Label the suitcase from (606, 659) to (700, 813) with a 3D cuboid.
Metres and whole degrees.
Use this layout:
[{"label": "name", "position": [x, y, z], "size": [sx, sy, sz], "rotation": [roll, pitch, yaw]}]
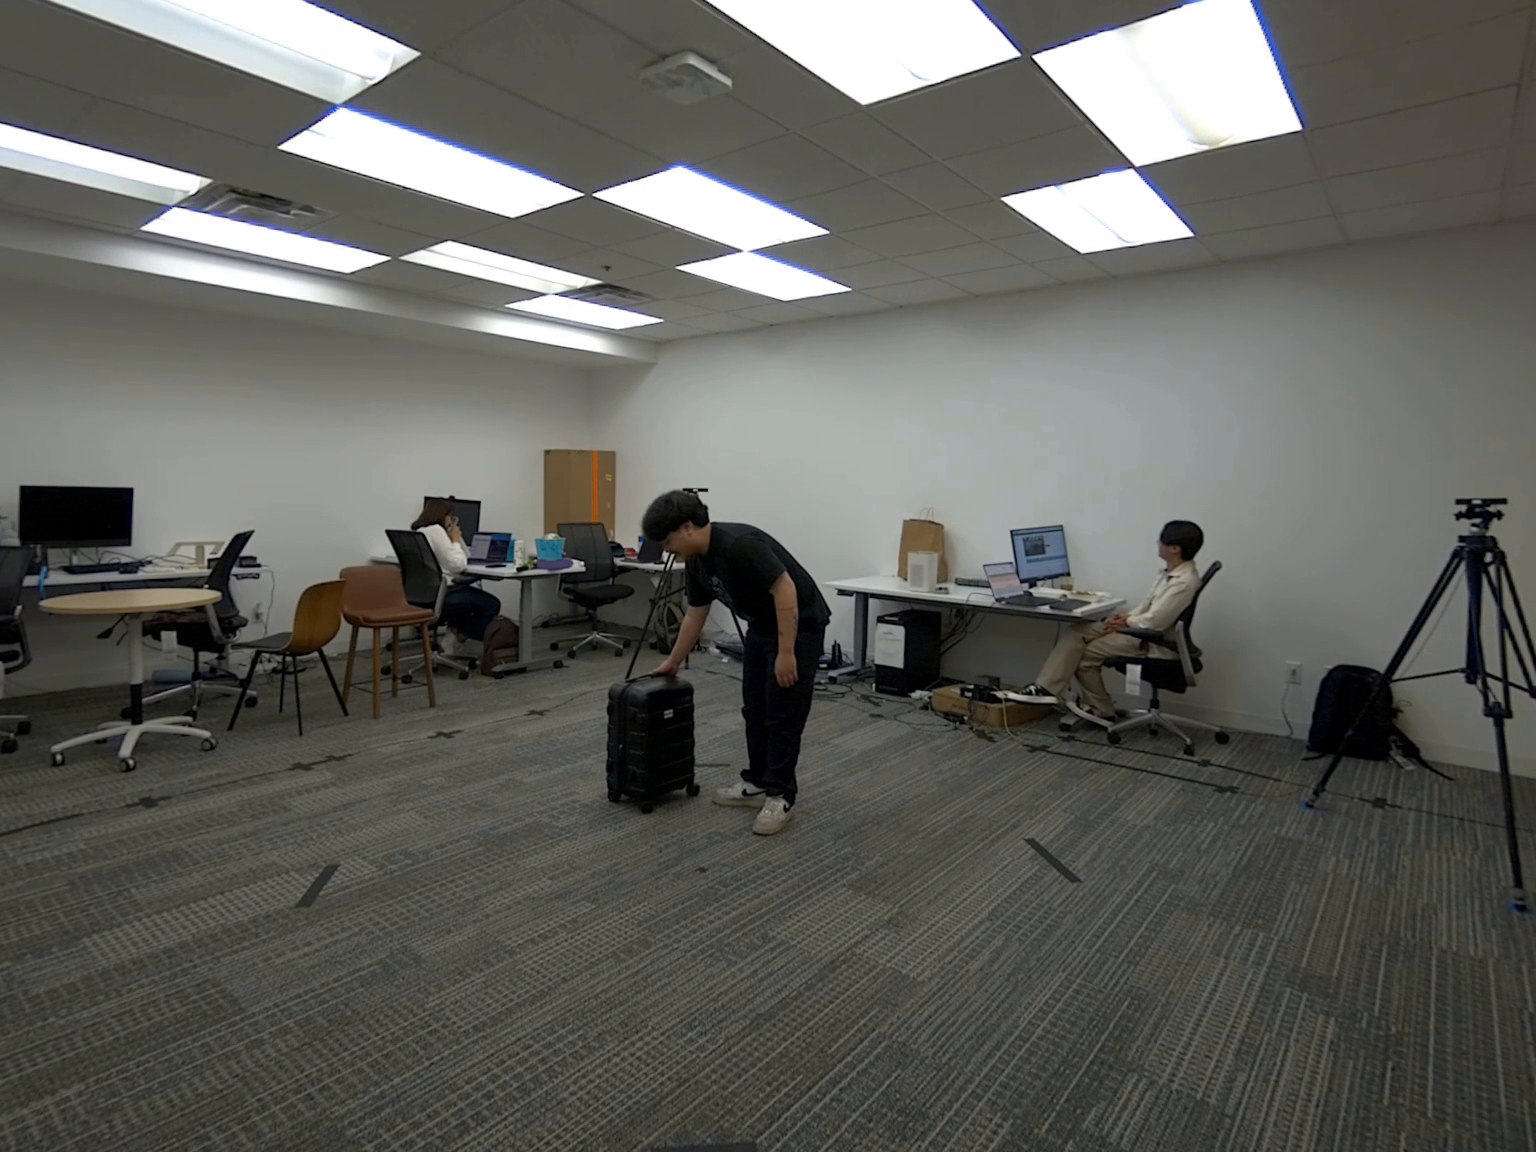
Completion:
[{"label": "suitcase", "position": [-0.532, 0.720, 3.810], "size": [0.256, 0.548, 0.364], "rotation": [3, 4, 43]}]
